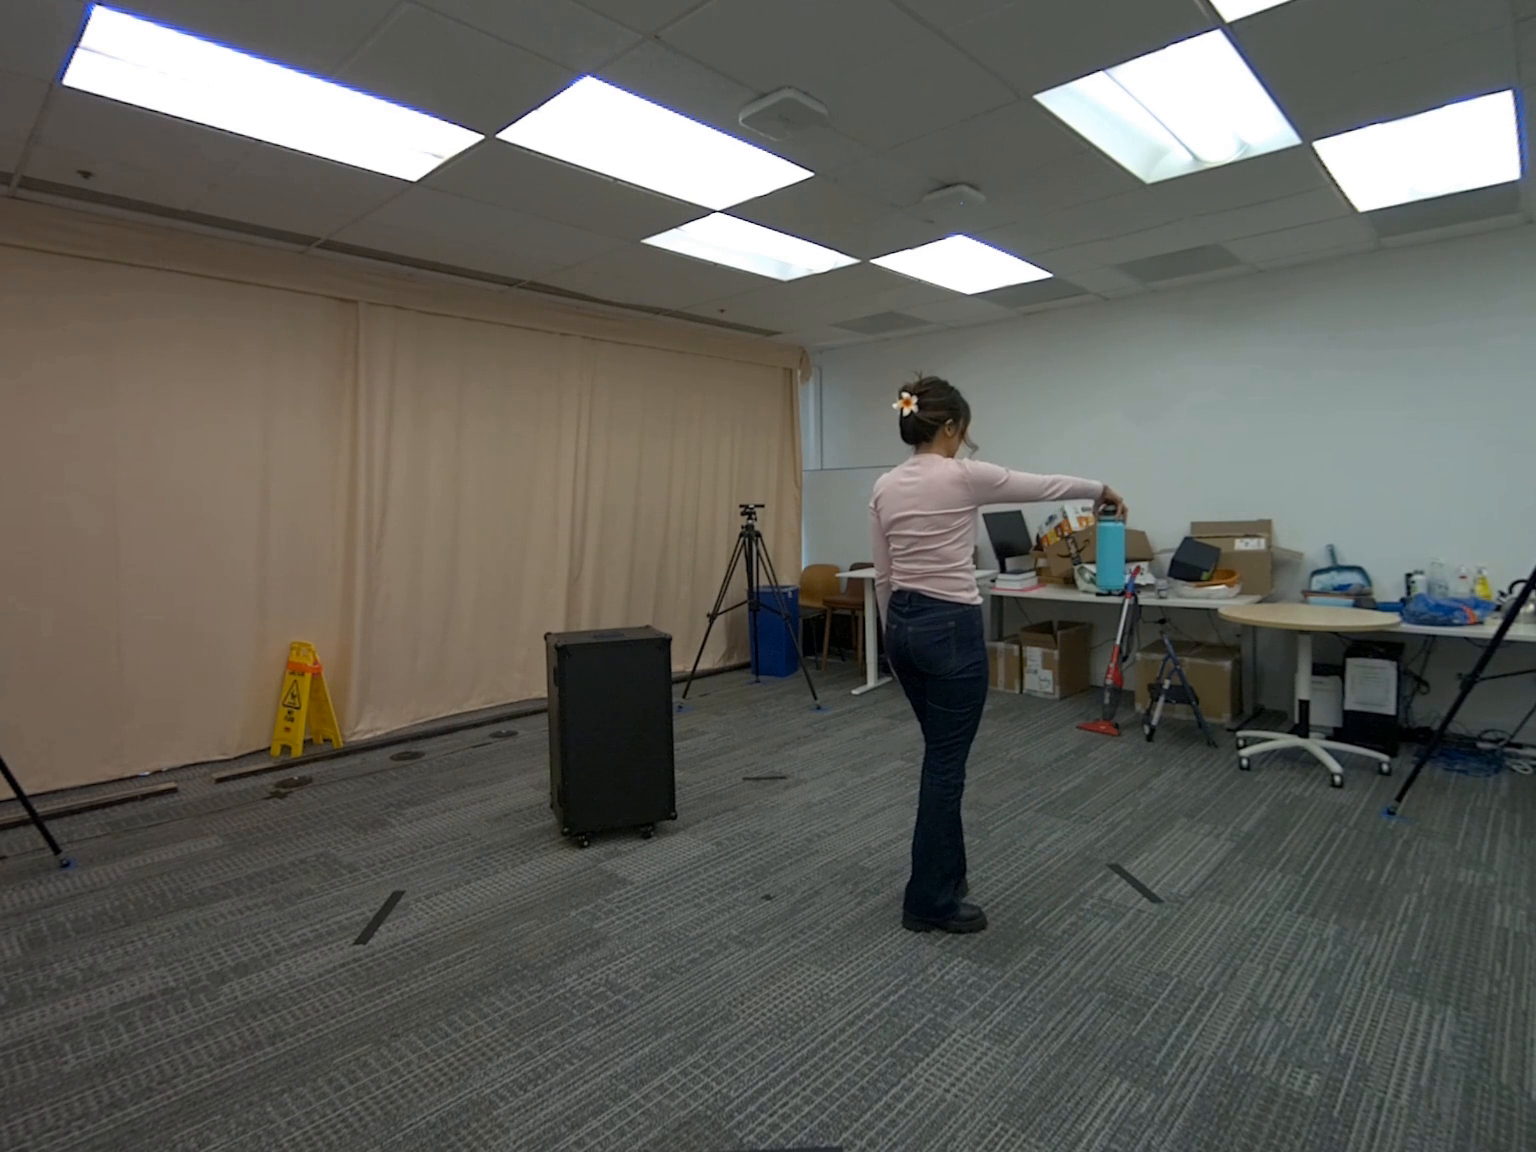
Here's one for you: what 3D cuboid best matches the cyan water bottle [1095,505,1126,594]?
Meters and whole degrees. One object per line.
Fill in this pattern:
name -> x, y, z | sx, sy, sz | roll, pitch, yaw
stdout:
cyan water bottle -> 1.171, -0.096, 2.854 | 0.092, 0.282, 0.093 | -1, 5, -2
